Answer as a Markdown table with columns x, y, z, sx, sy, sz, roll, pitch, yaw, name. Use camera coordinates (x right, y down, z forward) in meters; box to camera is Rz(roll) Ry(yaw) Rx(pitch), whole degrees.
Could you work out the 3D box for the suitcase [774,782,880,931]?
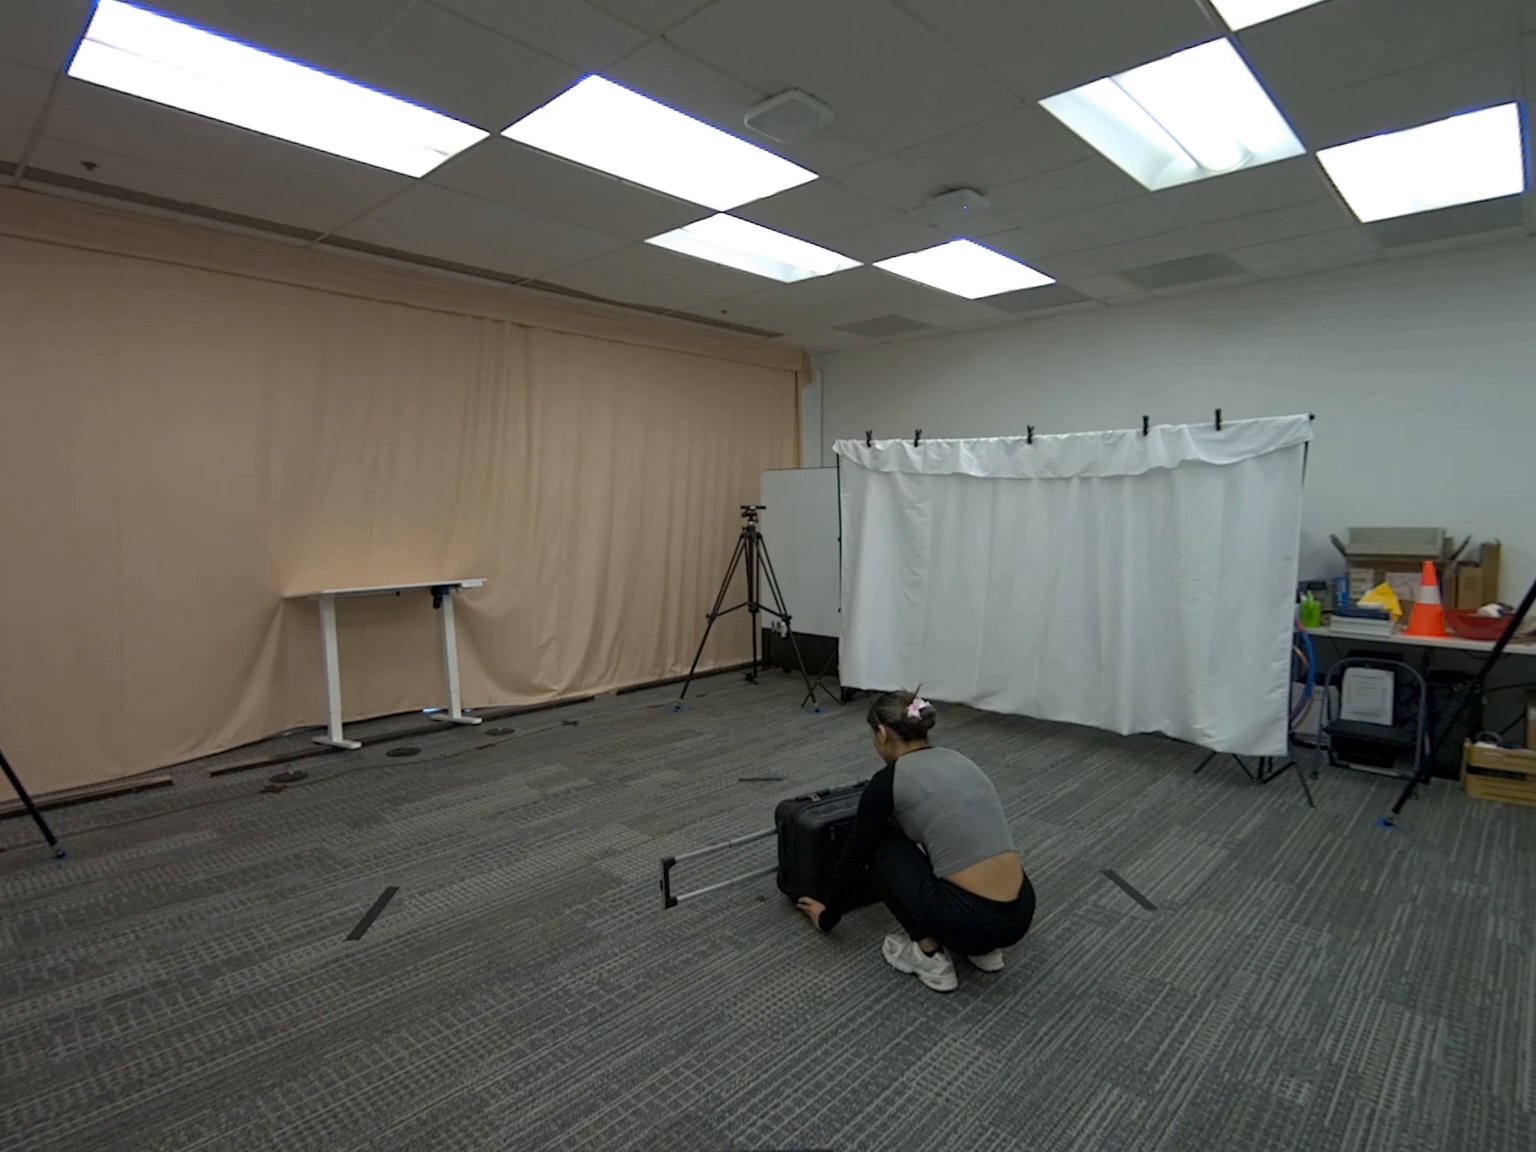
| x | y | z | sx | sy | sz | roll | pitch | yaw | name |
| --- | --- | --- | --- | --- | --- | --- | --- | --- | --- |
| 0.124 | 0.961 | 2.892 | 0.951 | 0.384 | 0.265 | -3 | 2 | -34 | suitcase |
